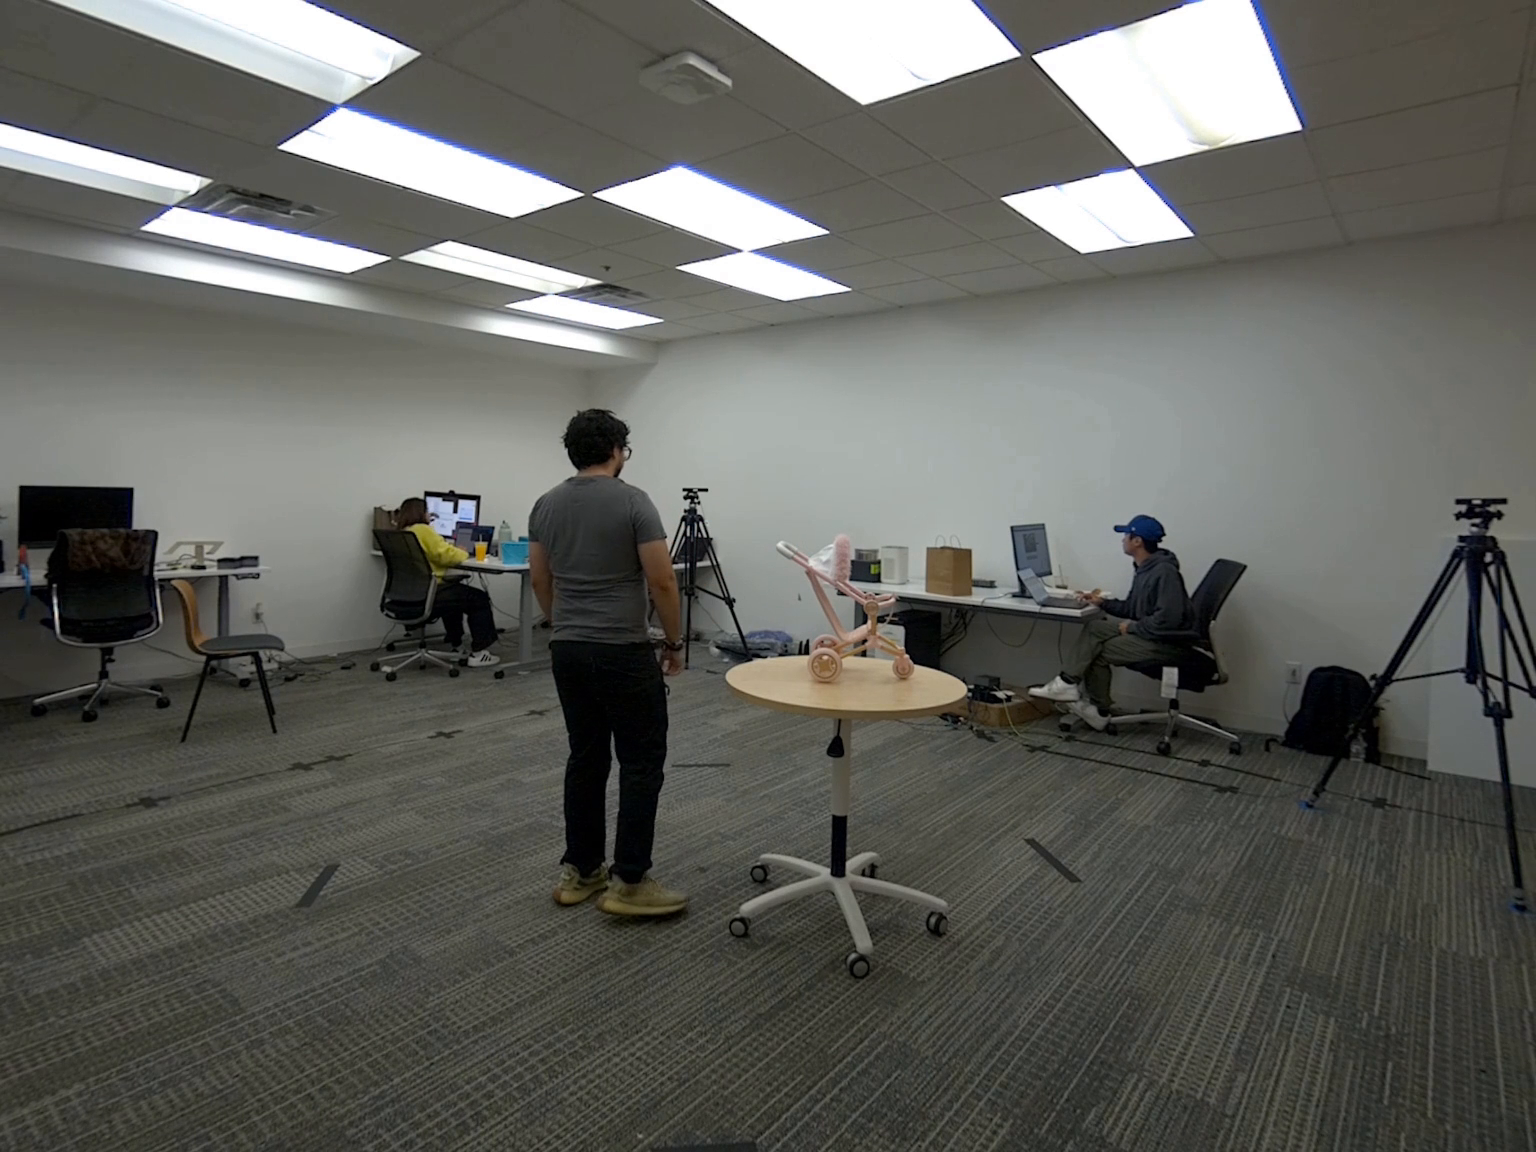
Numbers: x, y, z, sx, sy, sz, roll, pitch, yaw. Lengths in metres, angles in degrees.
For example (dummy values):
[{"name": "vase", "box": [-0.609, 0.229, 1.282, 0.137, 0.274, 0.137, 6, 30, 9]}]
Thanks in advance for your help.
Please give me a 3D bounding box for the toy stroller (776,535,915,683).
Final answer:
[{"name": "toy stroller", "box": [0.258, 0.107, 2.787, 0.345, 0.535, 0.278, -14, 0, 12]}]
